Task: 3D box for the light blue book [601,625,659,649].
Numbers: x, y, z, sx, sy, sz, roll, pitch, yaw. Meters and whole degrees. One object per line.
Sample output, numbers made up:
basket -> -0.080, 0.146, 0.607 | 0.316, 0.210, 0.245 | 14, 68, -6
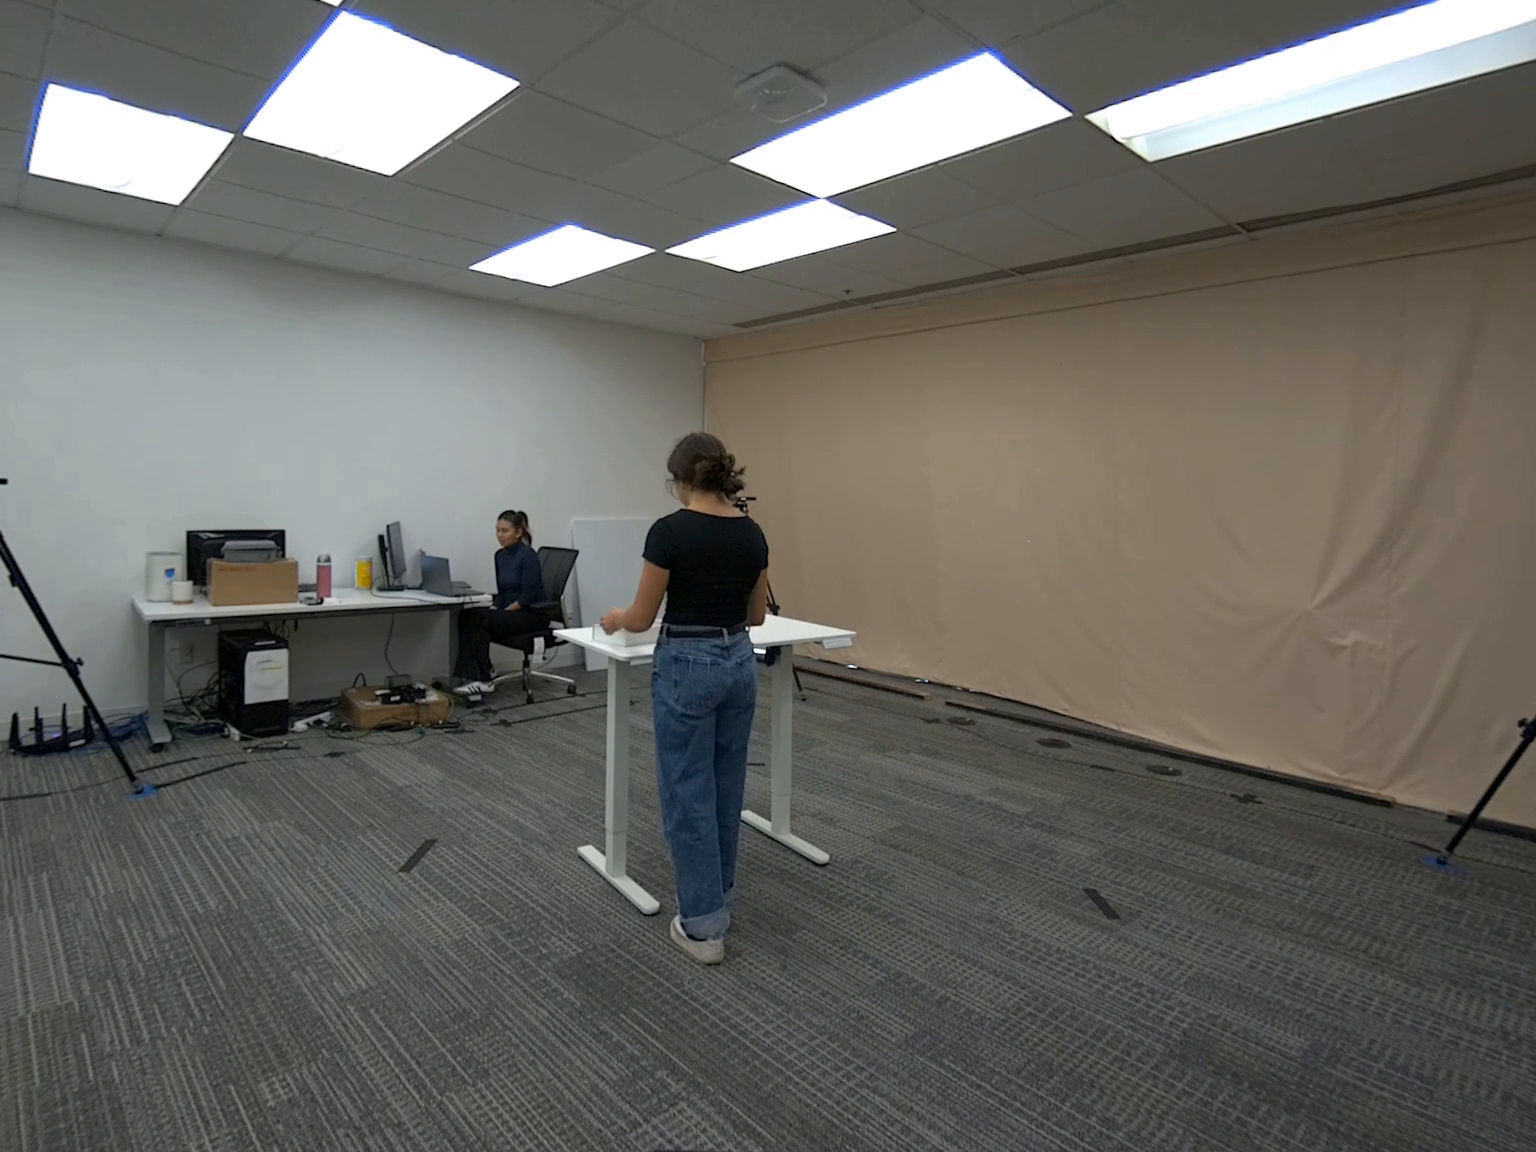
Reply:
light blue book -> -0.469, 0.202, 3.006 | 0.196, 0.059, 0.255 | 6, 7, 41
